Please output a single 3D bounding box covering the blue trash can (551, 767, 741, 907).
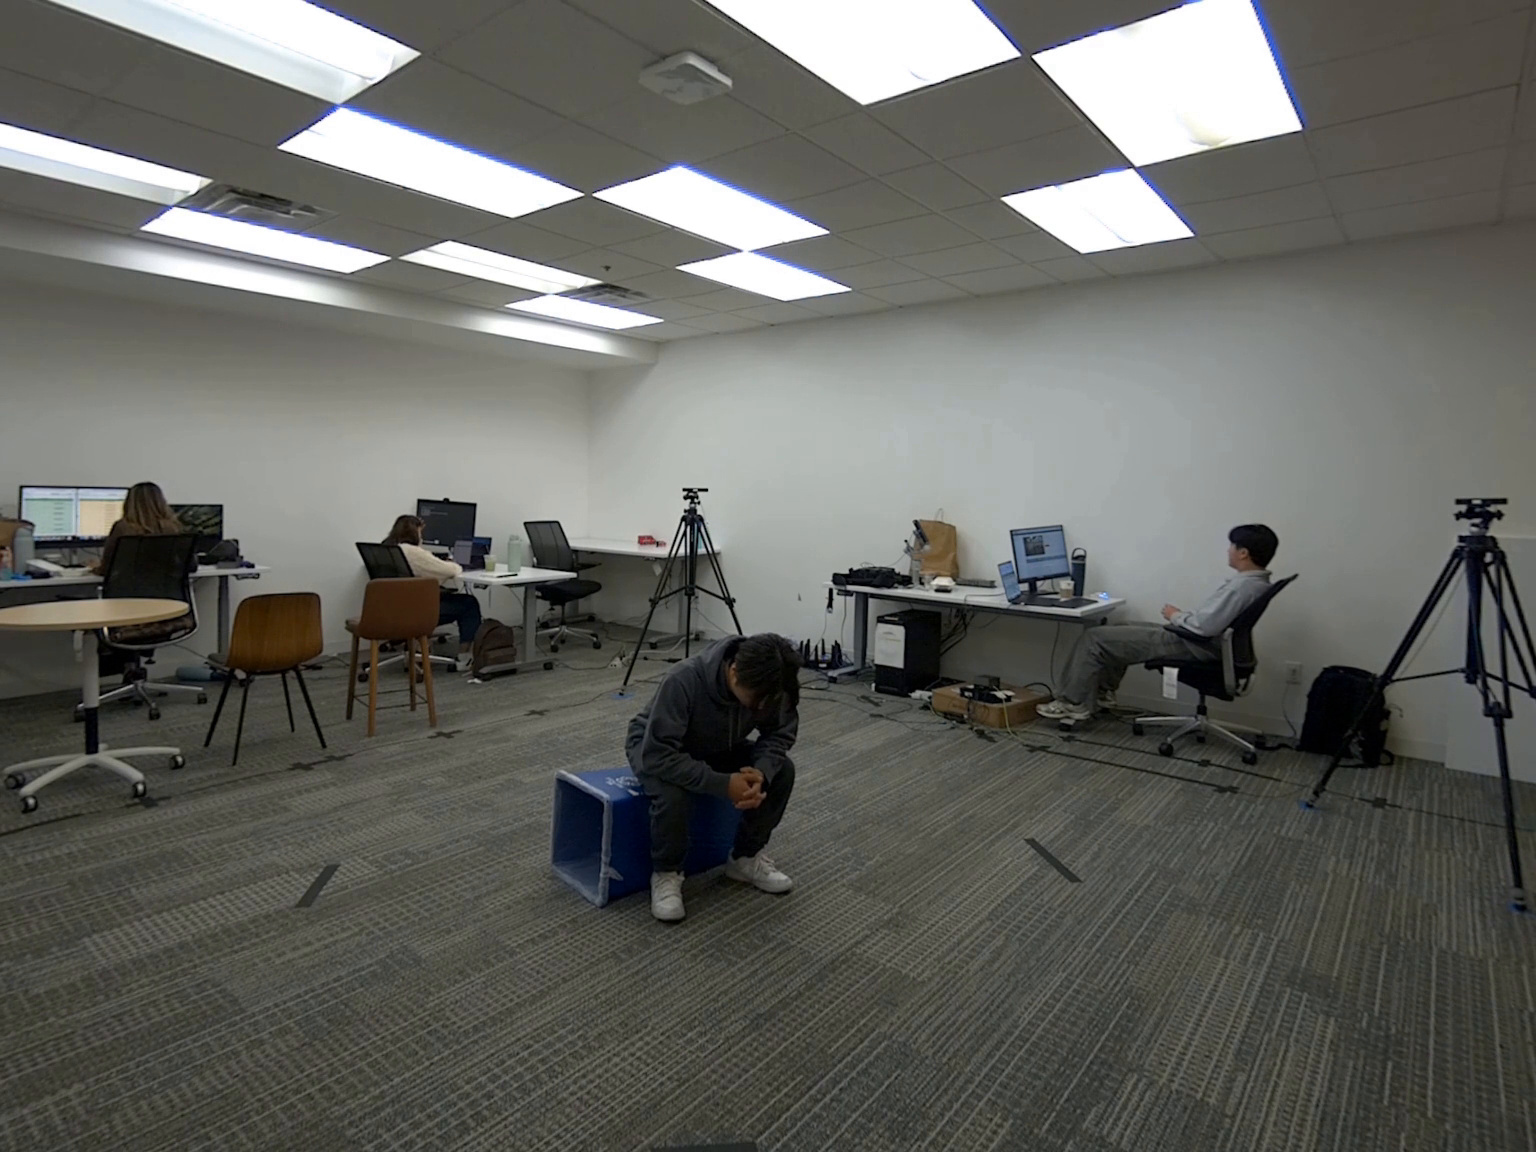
[{"bbox_3d":[-0.413,0.894,3.156,0.691,0.378,0.387,1,3,-41],"label":"blue trash can"}]
